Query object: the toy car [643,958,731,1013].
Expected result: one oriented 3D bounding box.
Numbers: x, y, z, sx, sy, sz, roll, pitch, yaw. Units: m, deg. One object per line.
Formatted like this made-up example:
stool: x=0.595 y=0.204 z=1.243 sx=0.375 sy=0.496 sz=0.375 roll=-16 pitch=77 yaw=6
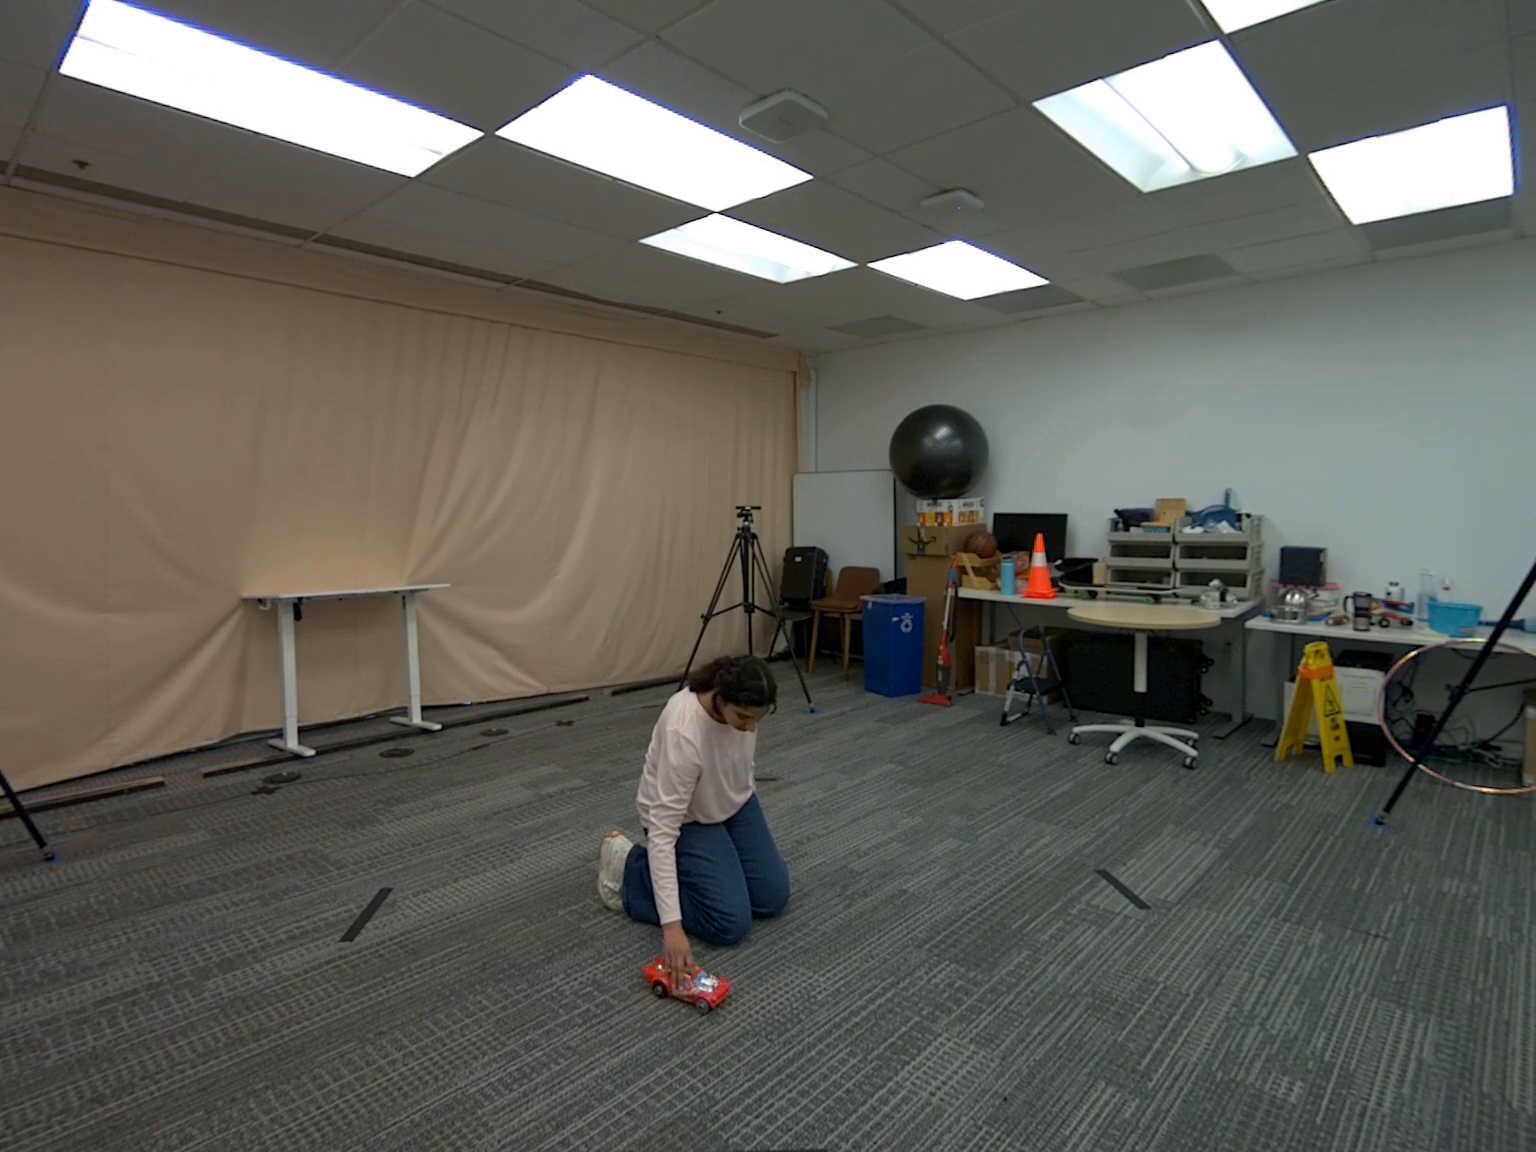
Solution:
toy car: x=-0.240 y=1.155 z=2.408 sx=0.262 sy=0.083 sz=0.127 roll=15 pitch=12 yaw=29
